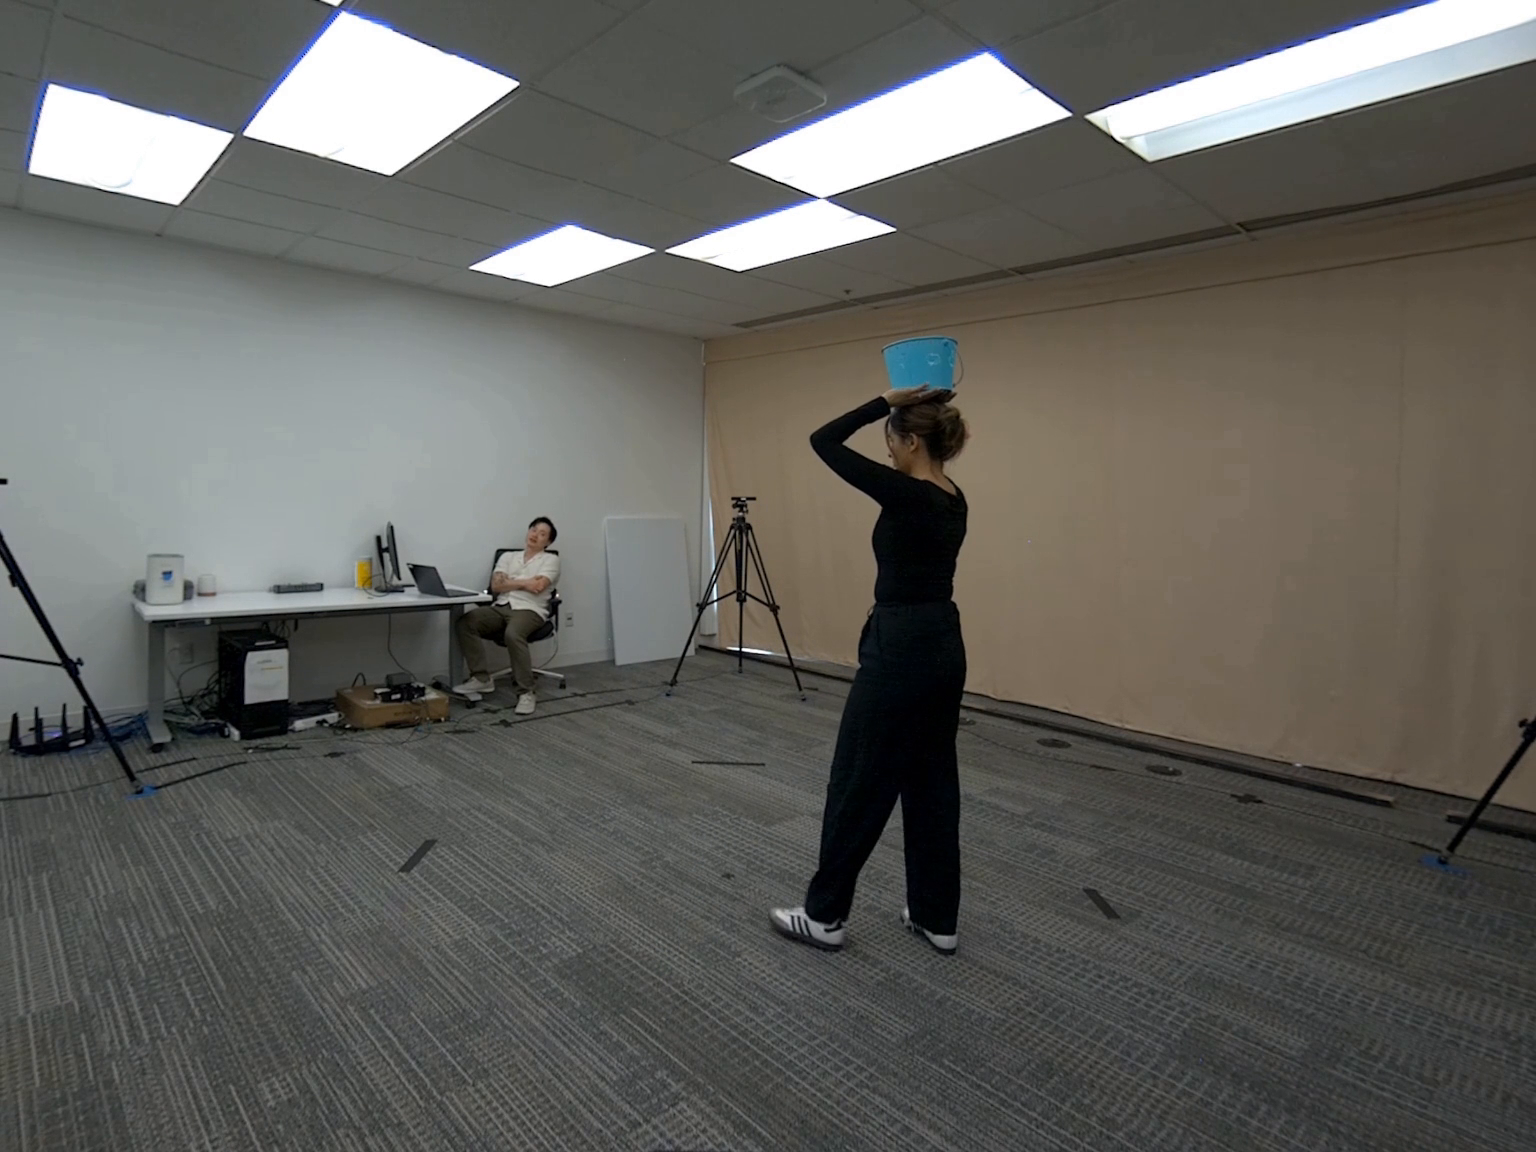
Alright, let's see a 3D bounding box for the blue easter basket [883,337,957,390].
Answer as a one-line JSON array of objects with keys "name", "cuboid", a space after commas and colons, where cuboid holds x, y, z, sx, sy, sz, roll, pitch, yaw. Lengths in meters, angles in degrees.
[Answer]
[{"name": "blue easter basket", "cuboid": [0.480, -0.630, 2.595, 0.243, 0.155, 0.244, -3, 3, -1]}]
